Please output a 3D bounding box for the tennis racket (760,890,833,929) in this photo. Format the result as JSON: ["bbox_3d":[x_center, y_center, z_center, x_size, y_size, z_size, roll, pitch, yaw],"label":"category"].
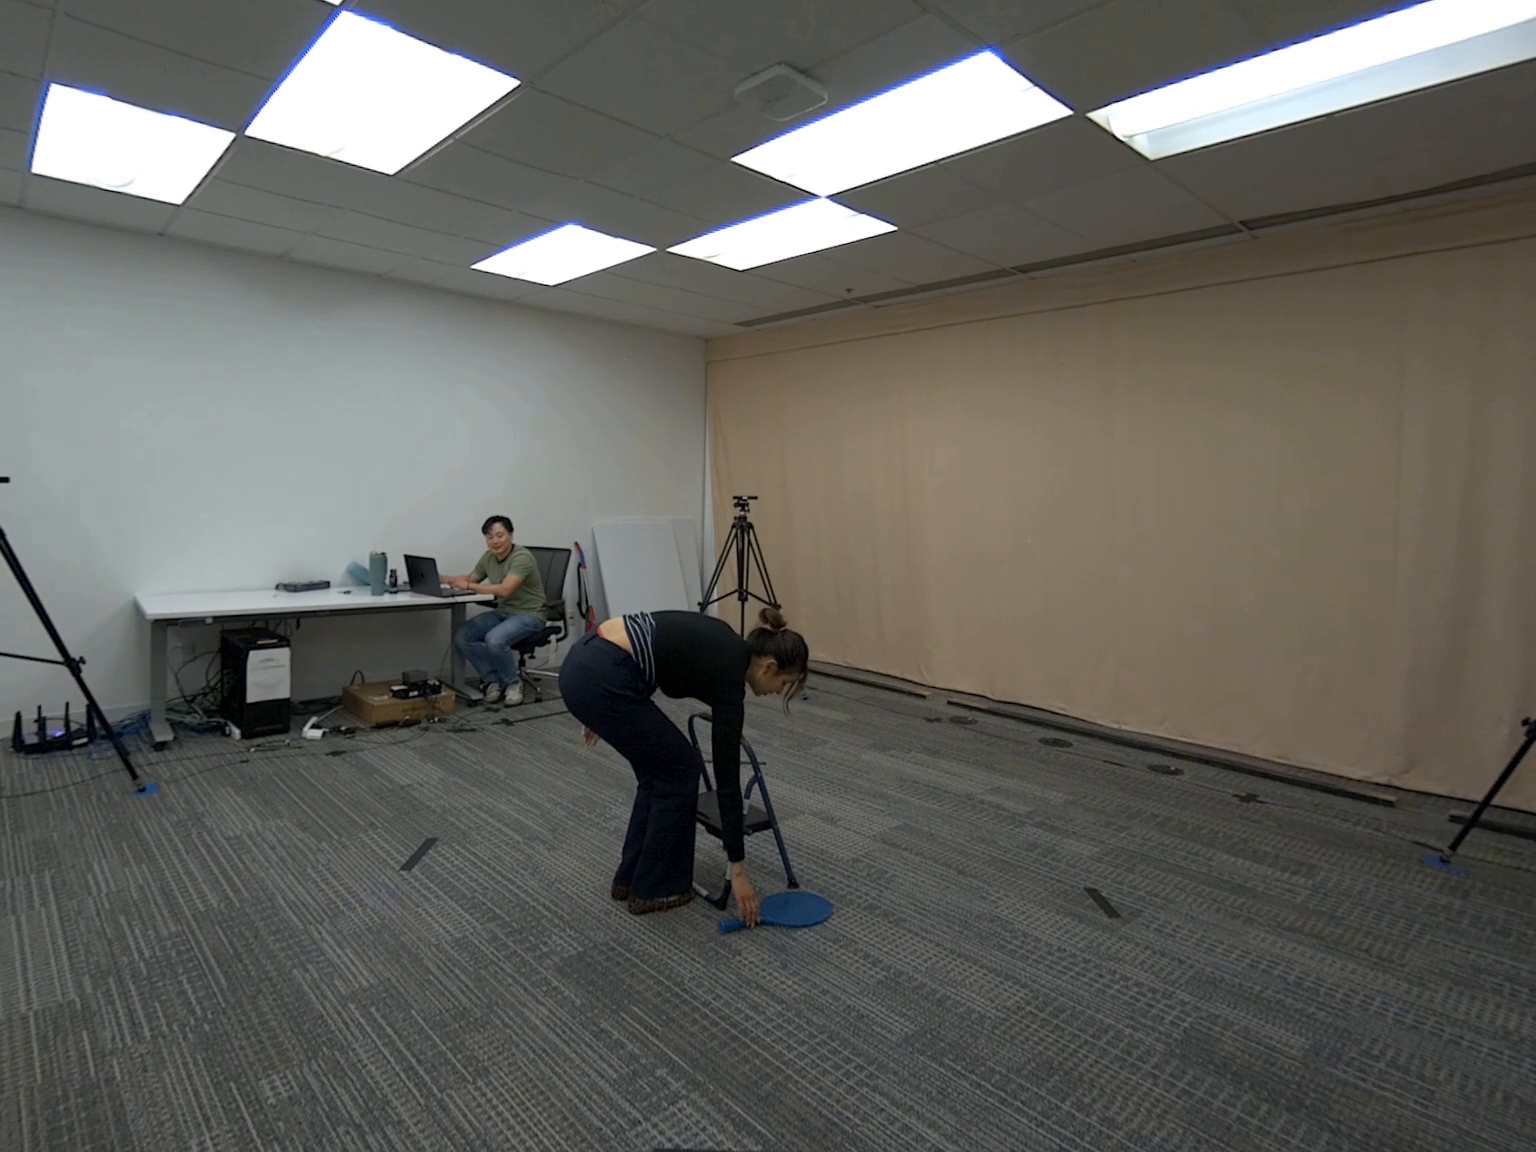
[{"bbox_3d":[0.022,1.116,2.793,0.423,0.031,0.219,0,6,-34],"label":"tennis racket"}]
